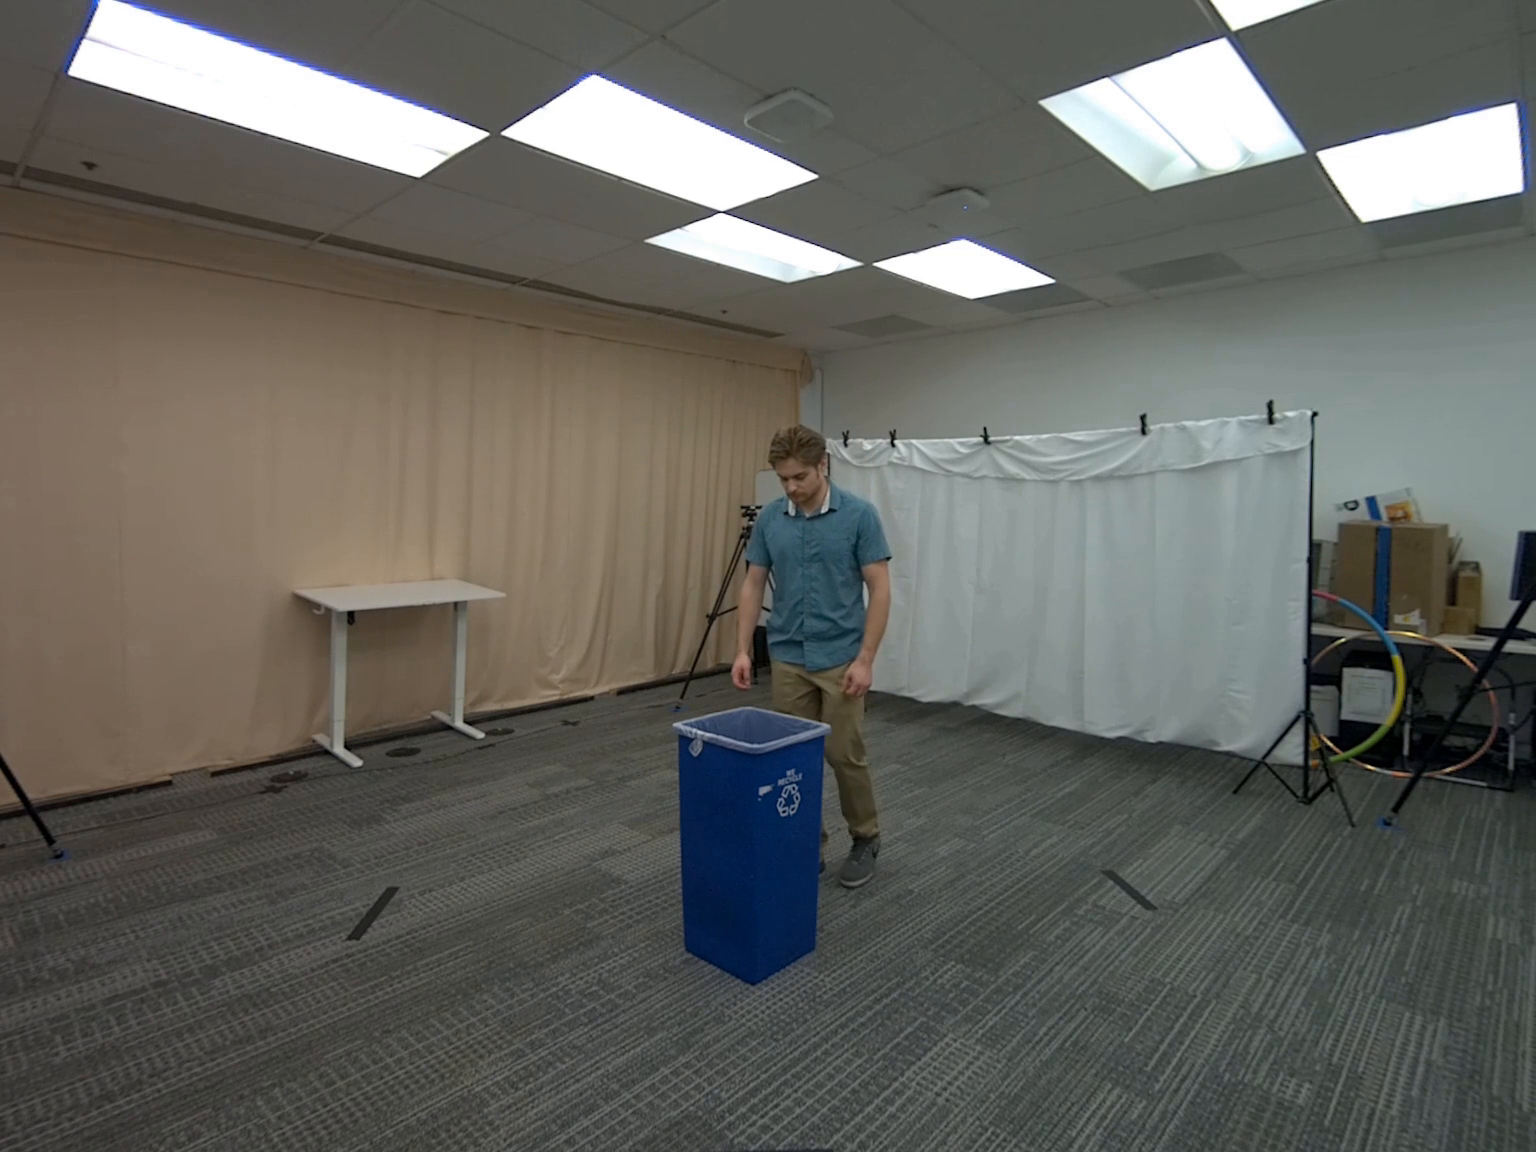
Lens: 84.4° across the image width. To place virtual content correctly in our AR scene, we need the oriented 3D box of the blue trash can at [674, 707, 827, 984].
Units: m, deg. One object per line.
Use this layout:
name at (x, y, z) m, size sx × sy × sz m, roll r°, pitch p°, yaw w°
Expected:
blue trash can at (-0.060, 0.819, 2.629) m, size 0.387 × 0.712 × 0.366 m, roll 5°, pitch 5°, yaw 41°
